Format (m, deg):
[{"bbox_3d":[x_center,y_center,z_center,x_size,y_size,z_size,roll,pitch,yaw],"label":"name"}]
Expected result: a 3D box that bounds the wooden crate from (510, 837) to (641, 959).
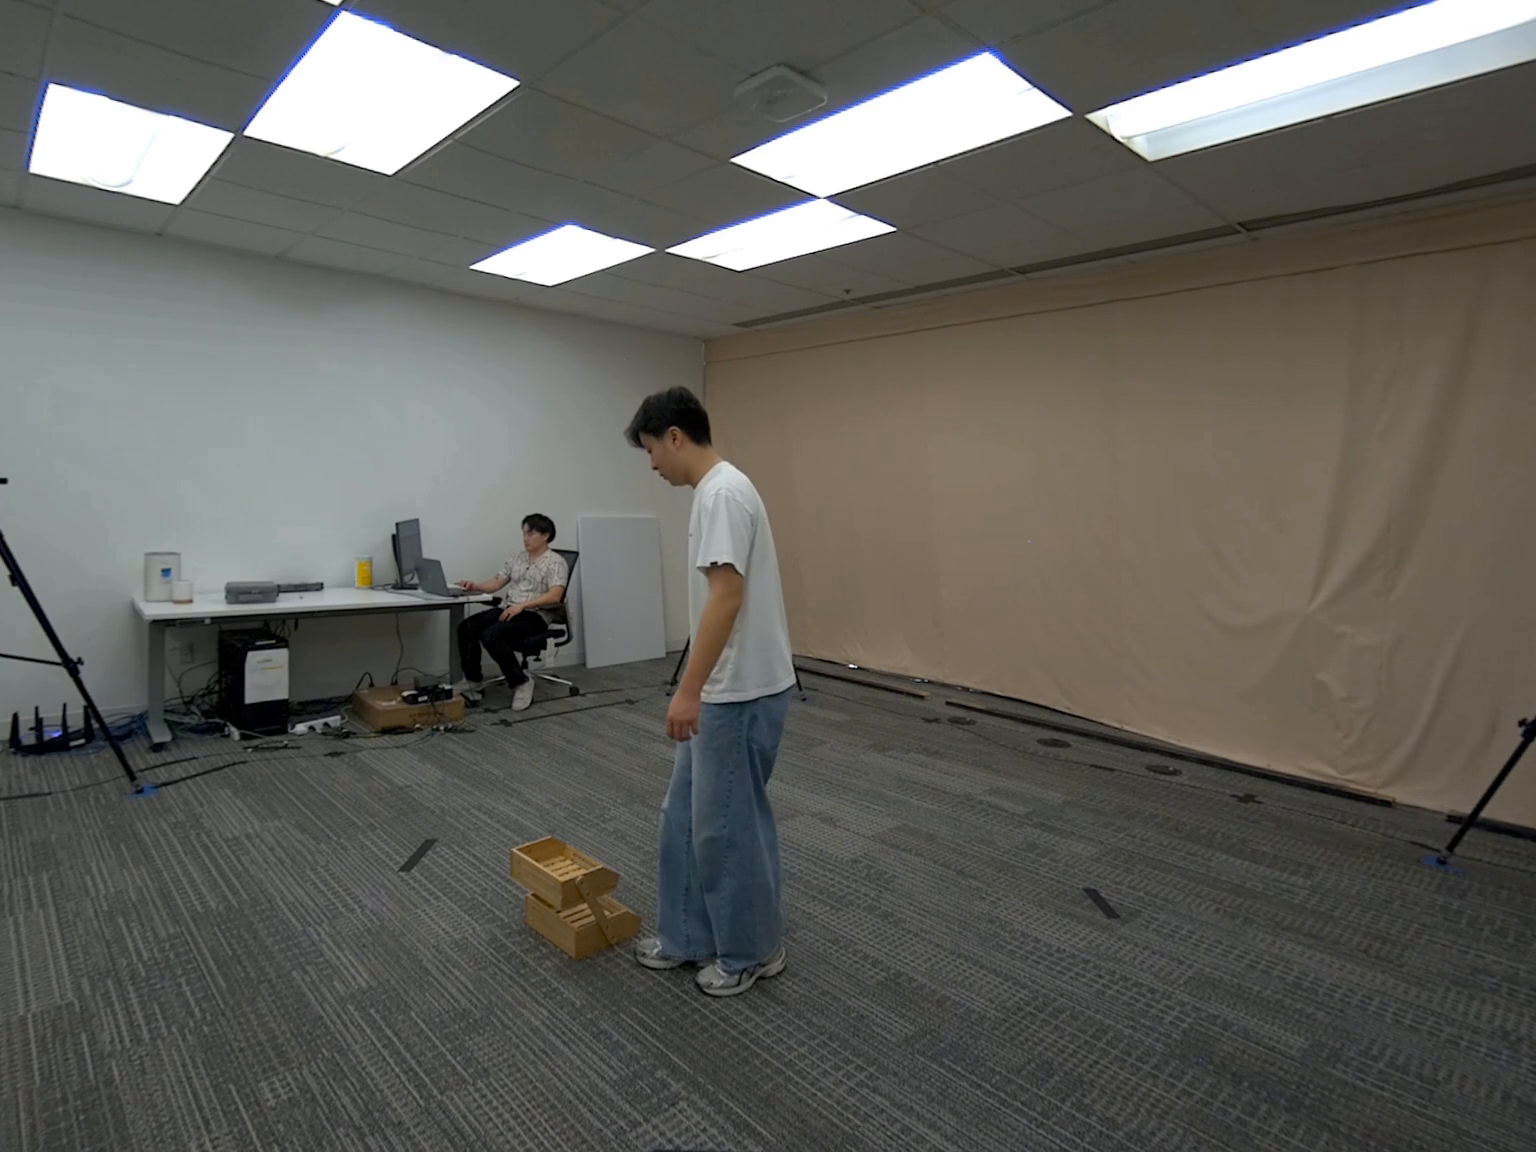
[{"bbox_3d":[-0.618,1.001,2.682,0.333,0.272,0.295,6,7,45],"label":"wooden crate"}]
